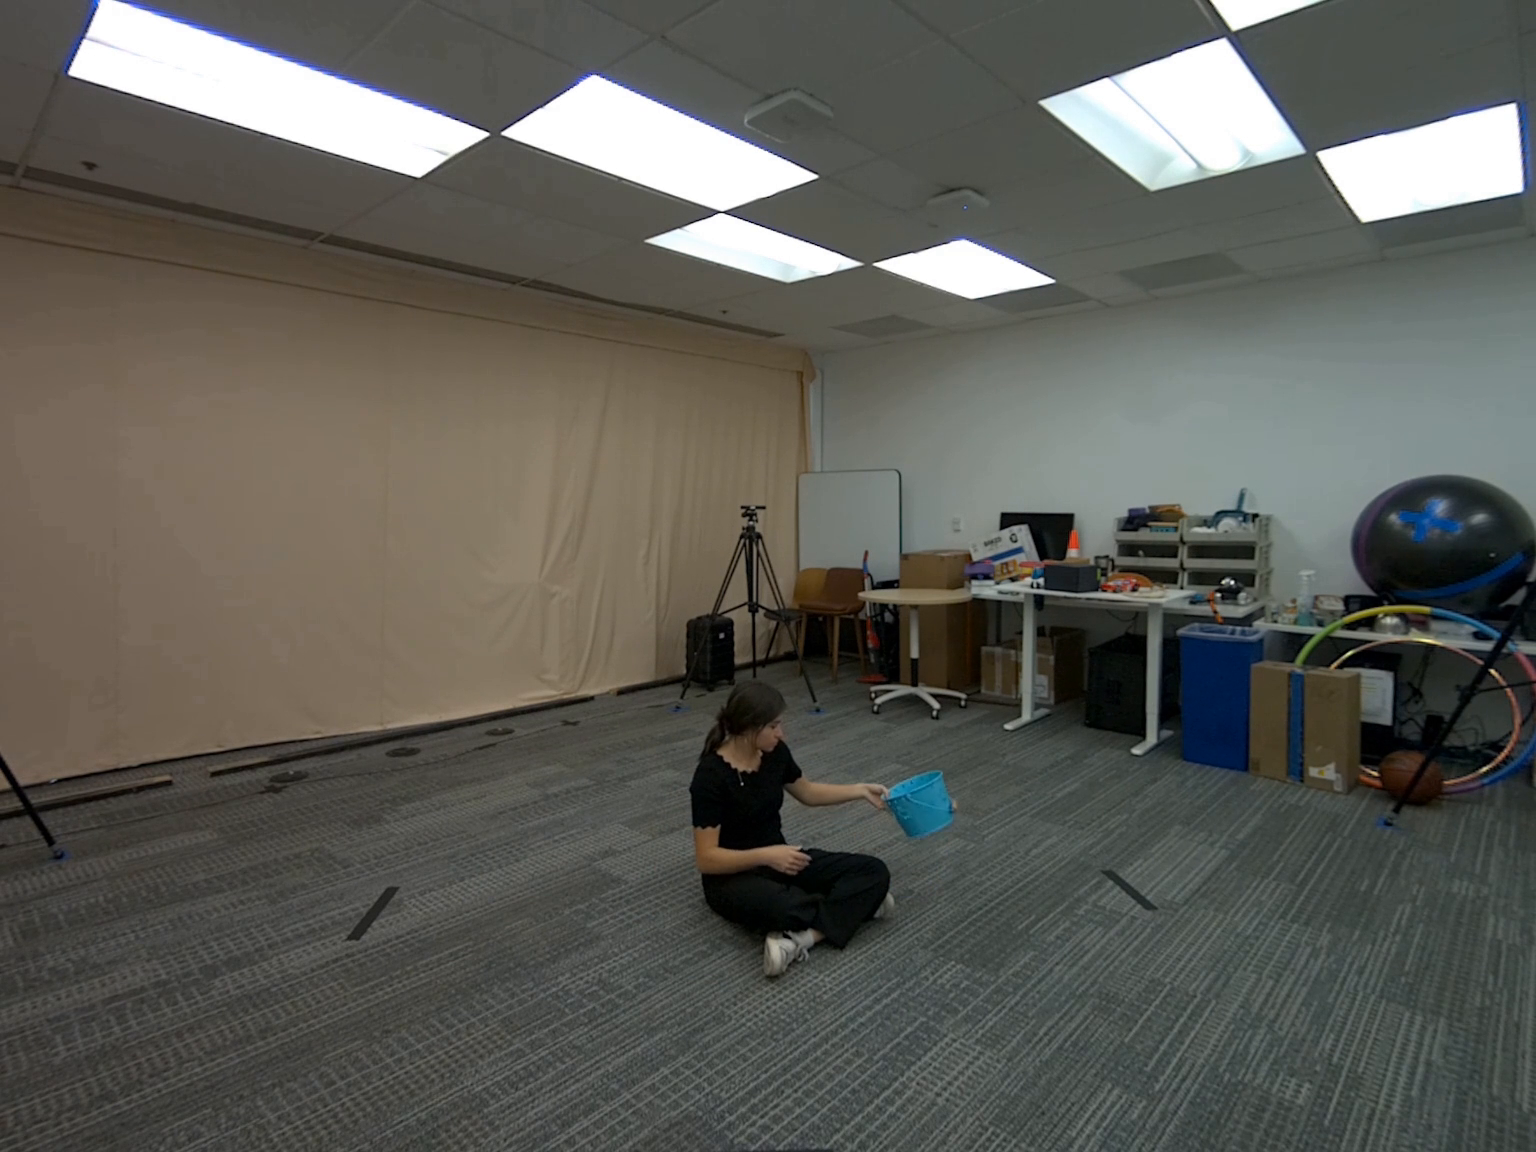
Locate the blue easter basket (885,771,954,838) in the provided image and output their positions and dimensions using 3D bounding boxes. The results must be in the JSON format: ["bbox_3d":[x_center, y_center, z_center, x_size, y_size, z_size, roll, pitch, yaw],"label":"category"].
[{"bbox_3d":[0.531,0.810,2.926,0.243,0.157,0.242,-24,-7,-5],"label":"blue easter basket"}]
